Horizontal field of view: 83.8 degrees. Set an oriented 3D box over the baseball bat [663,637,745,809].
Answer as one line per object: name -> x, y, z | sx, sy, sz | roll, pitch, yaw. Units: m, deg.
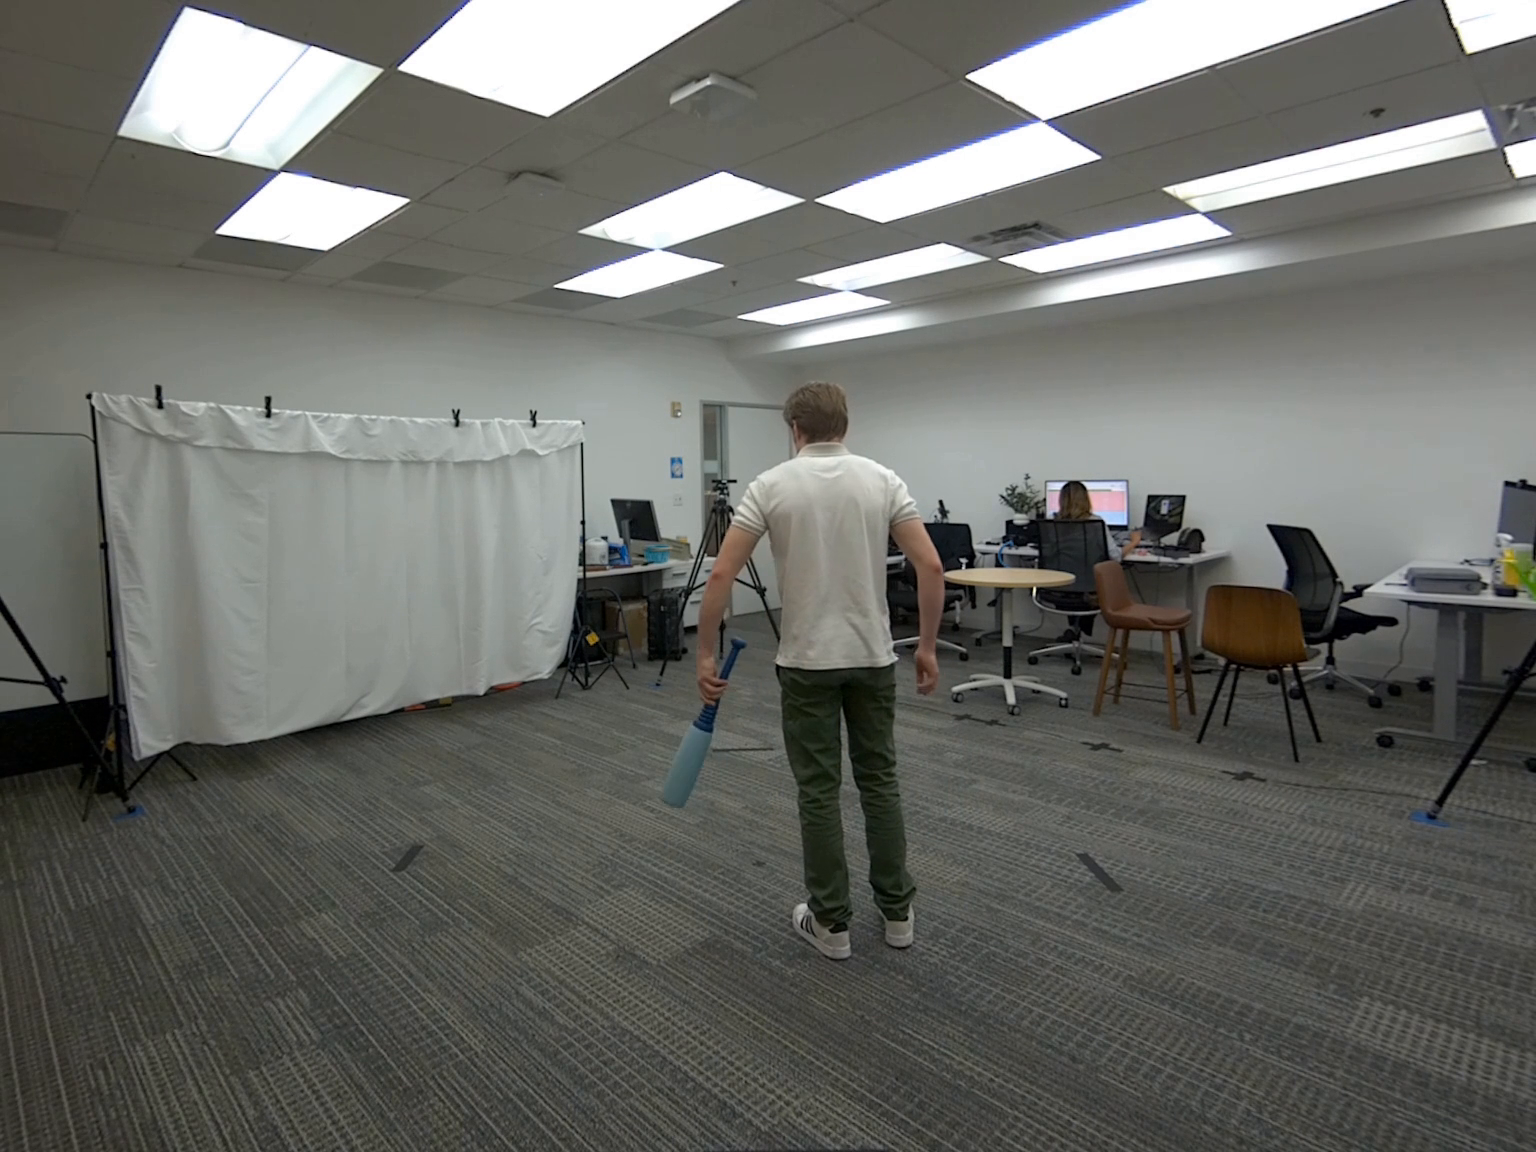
baseball bat -> -0.148, 0.425, 2.585 | 0.089, 0.543, 0.089 | 21, -1, -2
